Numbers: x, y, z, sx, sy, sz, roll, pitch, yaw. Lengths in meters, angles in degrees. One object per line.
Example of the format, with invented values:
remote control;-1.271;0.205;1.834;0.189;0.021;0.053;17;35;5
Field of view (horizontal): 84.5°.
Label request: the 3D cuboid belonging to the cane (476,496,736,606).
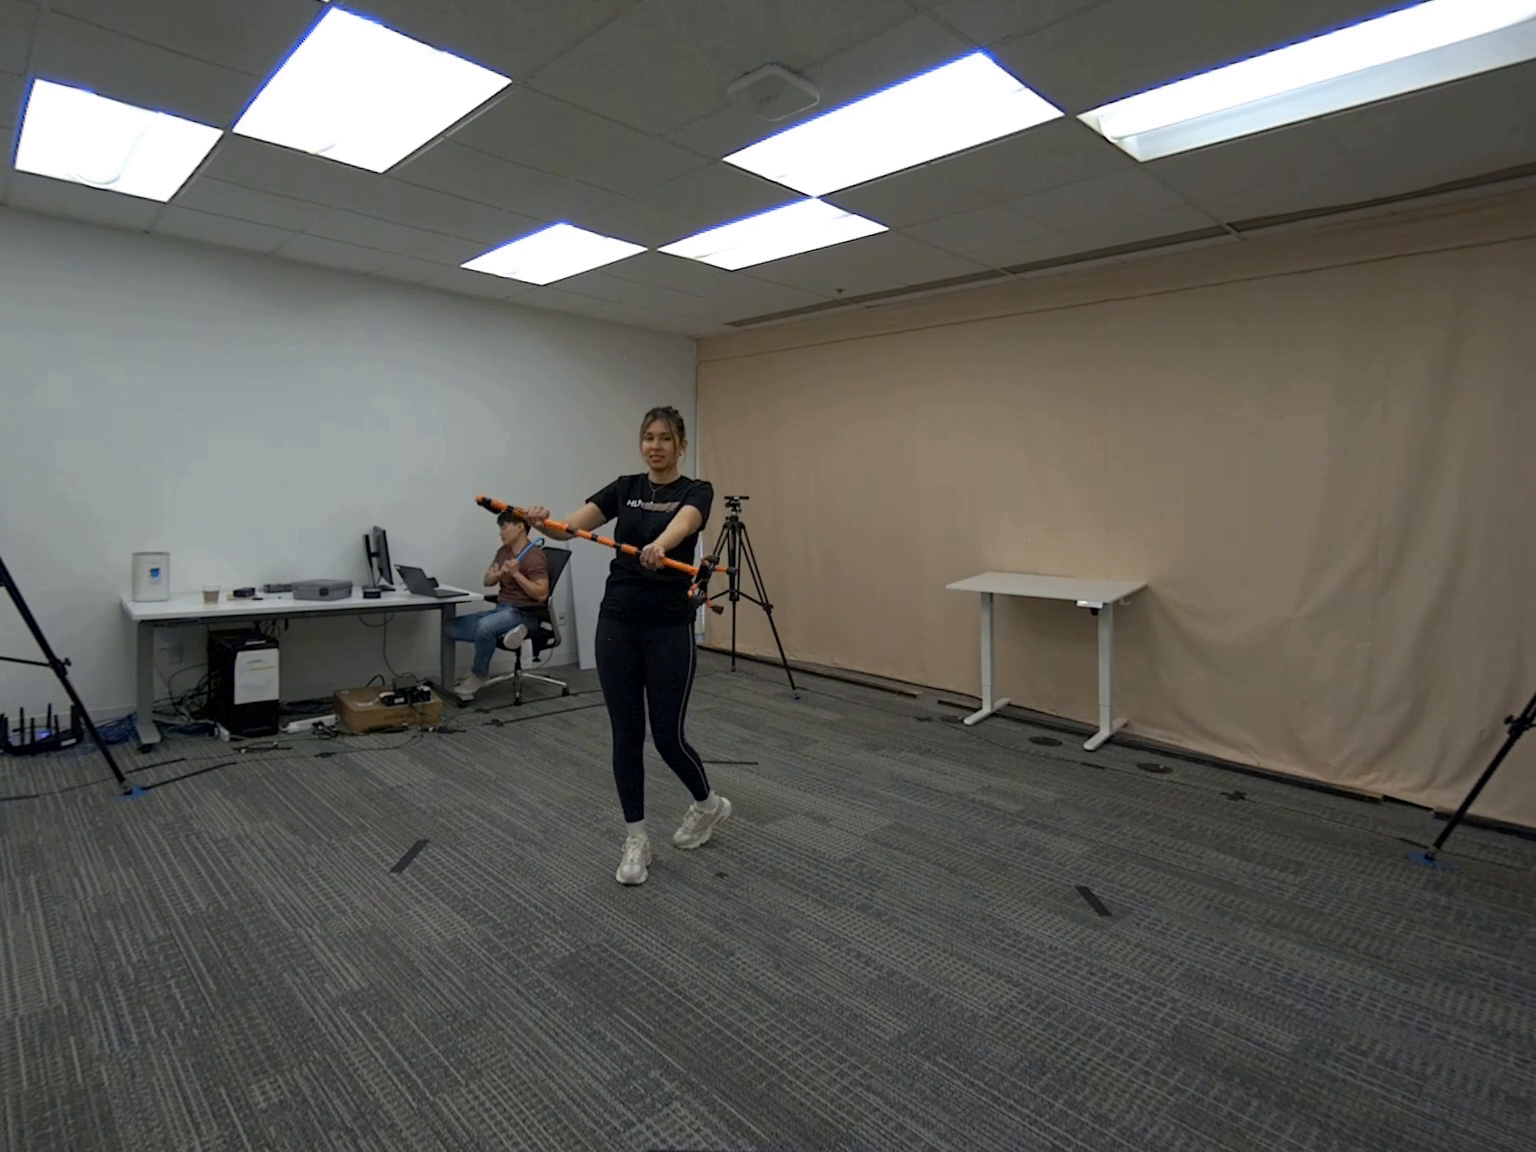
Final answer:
cane;-0.559;-0.101;2.629;0.926;0.152;0.202;19;-6;21
